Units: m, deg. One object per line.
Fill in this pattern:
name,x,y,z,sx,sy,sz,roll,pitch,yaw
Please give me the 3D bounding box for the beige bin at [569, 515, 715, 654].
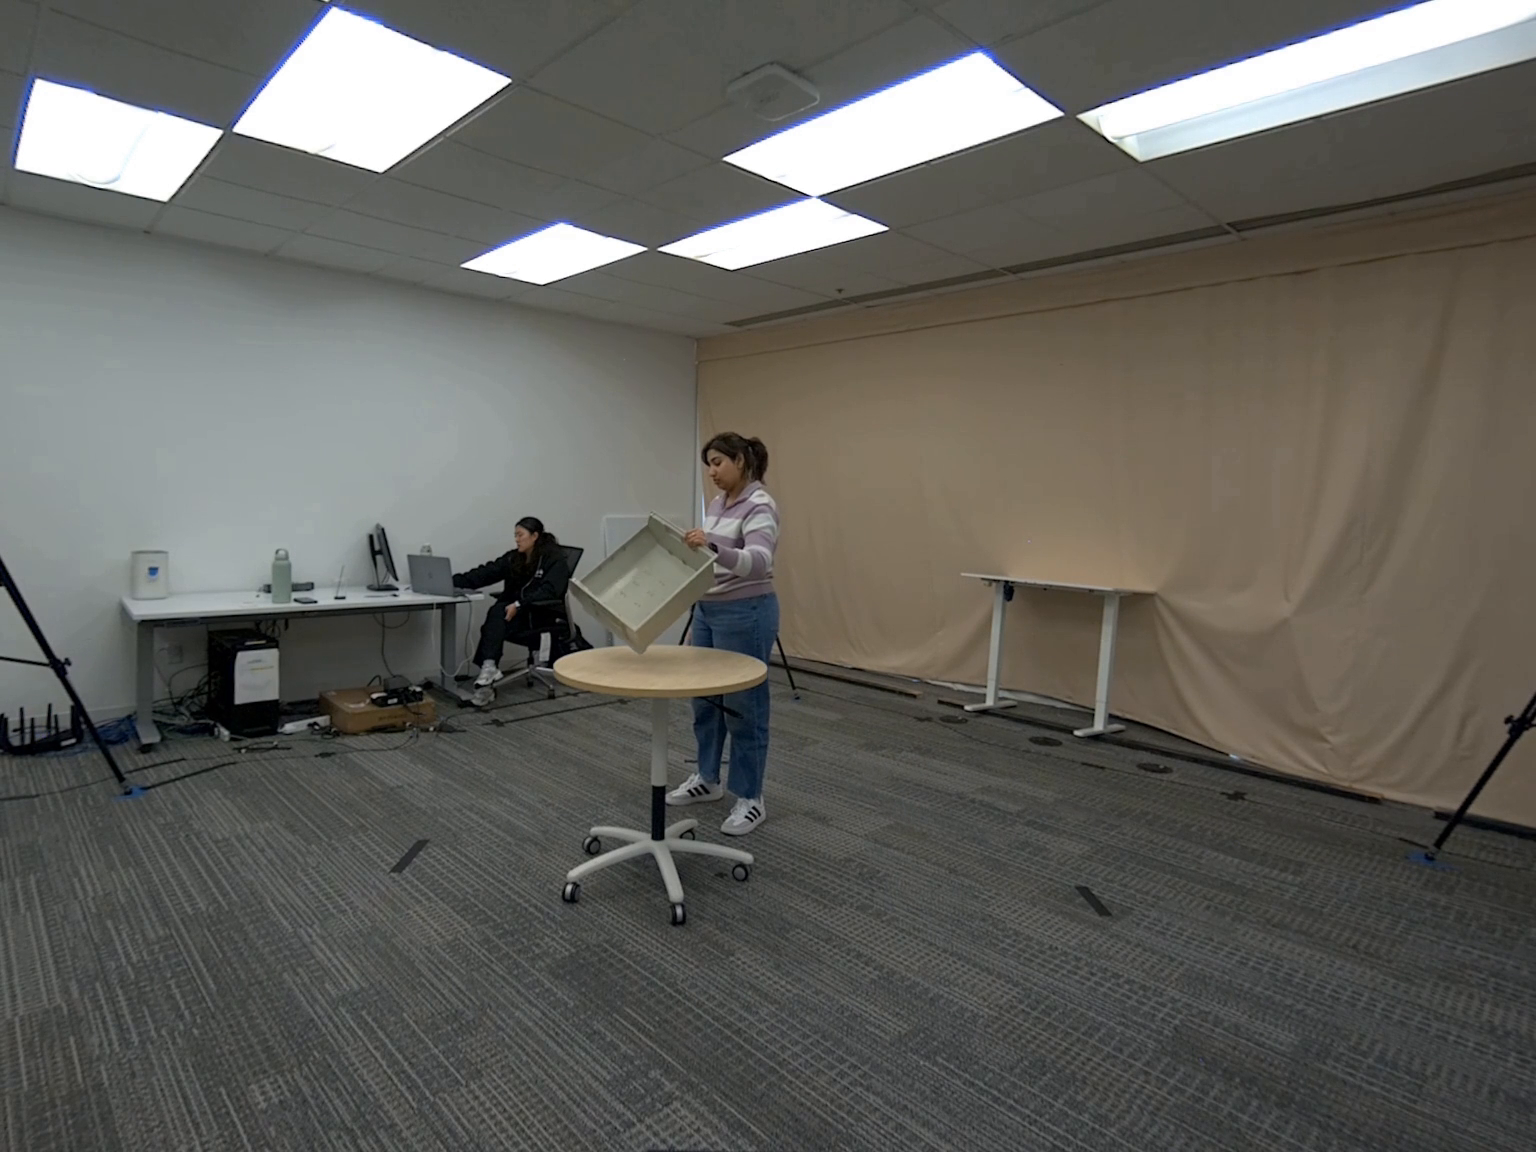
beige bin,-0.466,0.016,3.104,0.387,0.185,0.421,34,61,25
